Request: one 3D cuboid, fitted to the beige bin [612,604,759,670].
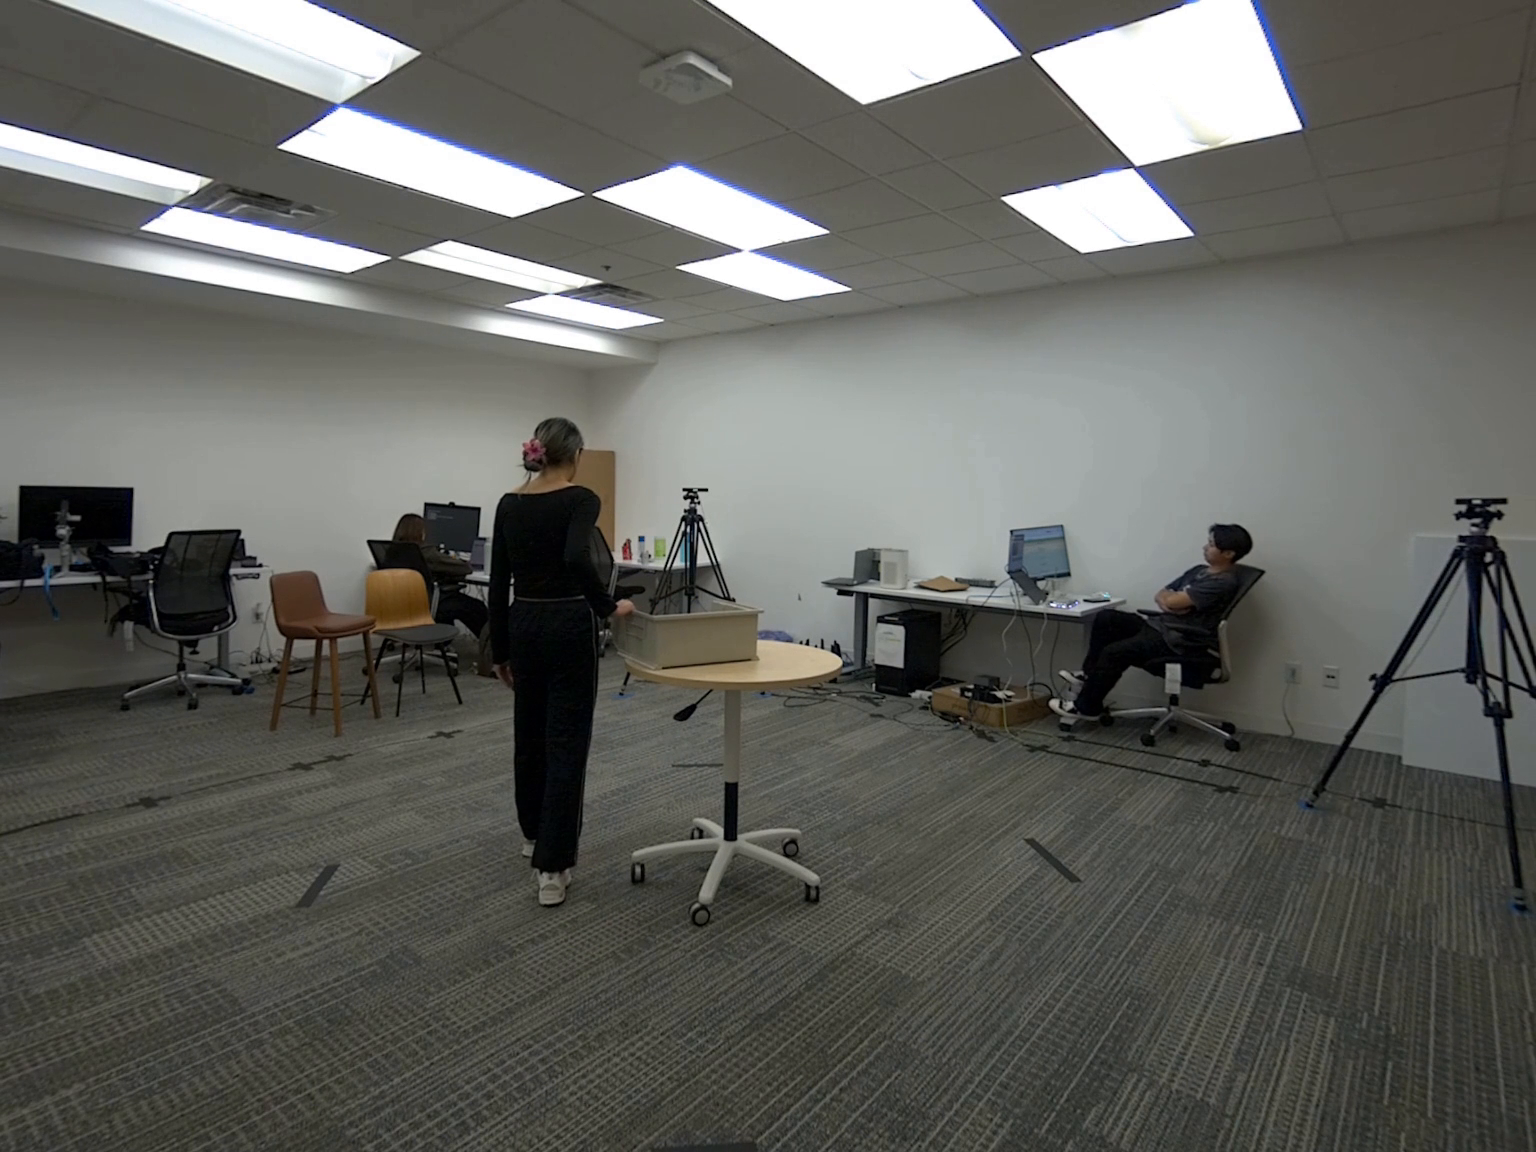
[{"bbox_3d":[-0.303,0.196,3.022,0.411,0.188,0.389,-2,7,-31],"label":"beige bin"}]
